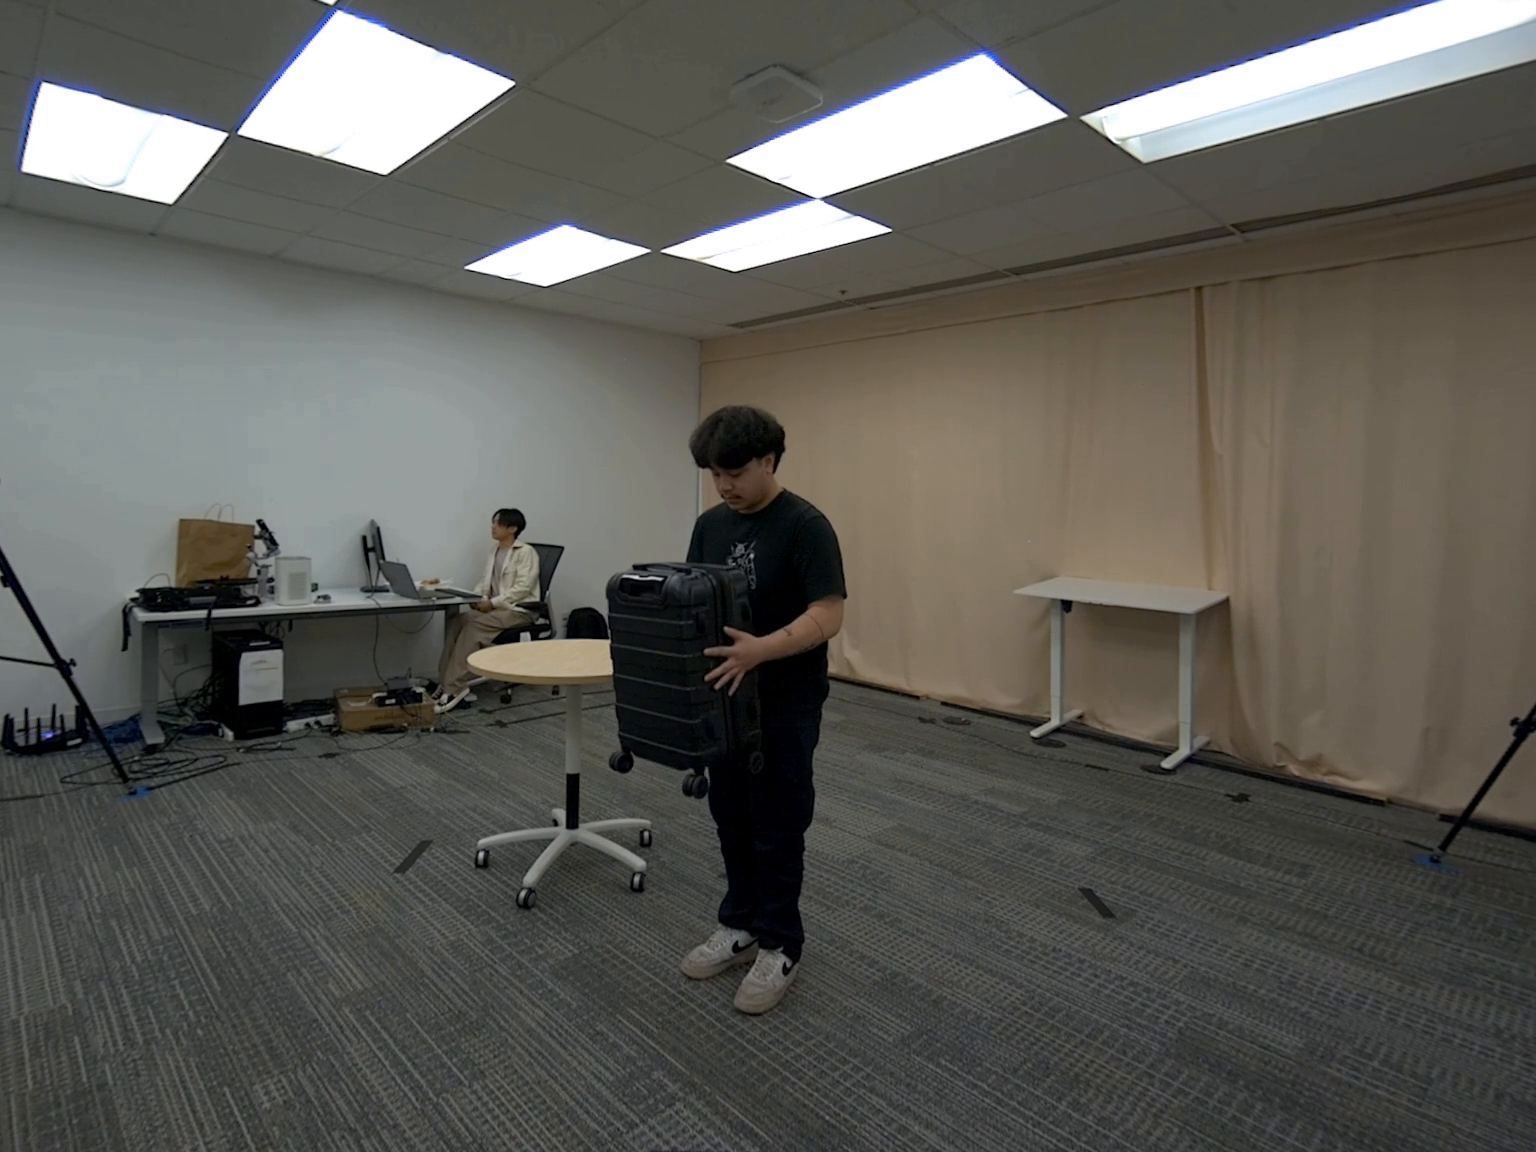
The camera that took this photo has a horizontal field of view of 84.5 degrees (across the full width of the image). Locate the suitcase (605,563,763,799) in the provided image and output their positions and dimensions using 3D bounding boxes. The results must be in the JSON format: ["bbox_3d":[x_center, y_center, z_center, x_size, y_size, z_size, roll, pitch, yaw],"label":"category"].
[{"bbox_3d":[-0.231,0.243,2.187,0.384,0.548,0.243,2,6,44],"label":"suitcase"}]
